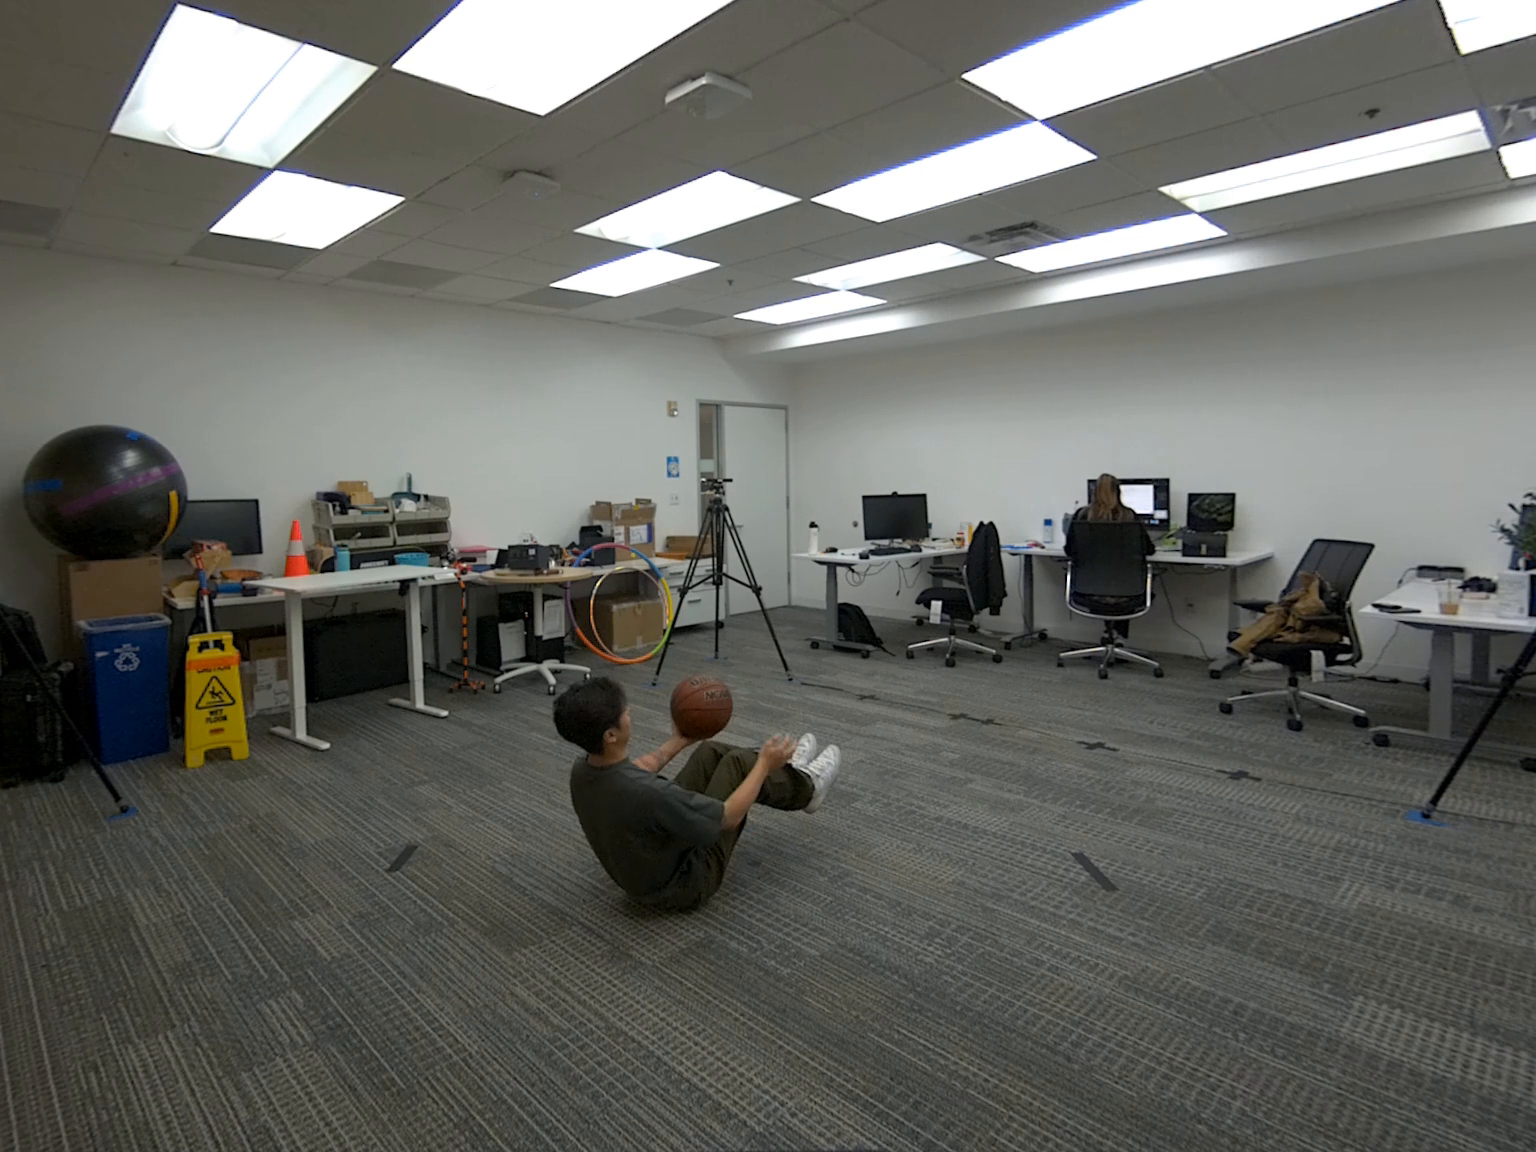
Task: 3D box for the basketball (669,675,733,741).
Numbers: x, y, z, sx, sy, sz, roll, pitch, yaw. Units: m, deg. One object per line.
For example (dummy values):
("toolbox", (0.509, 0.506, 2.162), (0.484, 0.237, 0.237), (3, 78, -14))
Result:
("basketball", (-0.248, 0.501, 3.236), (0.236, 0.235, 0.237), (-1, 5, -2))
